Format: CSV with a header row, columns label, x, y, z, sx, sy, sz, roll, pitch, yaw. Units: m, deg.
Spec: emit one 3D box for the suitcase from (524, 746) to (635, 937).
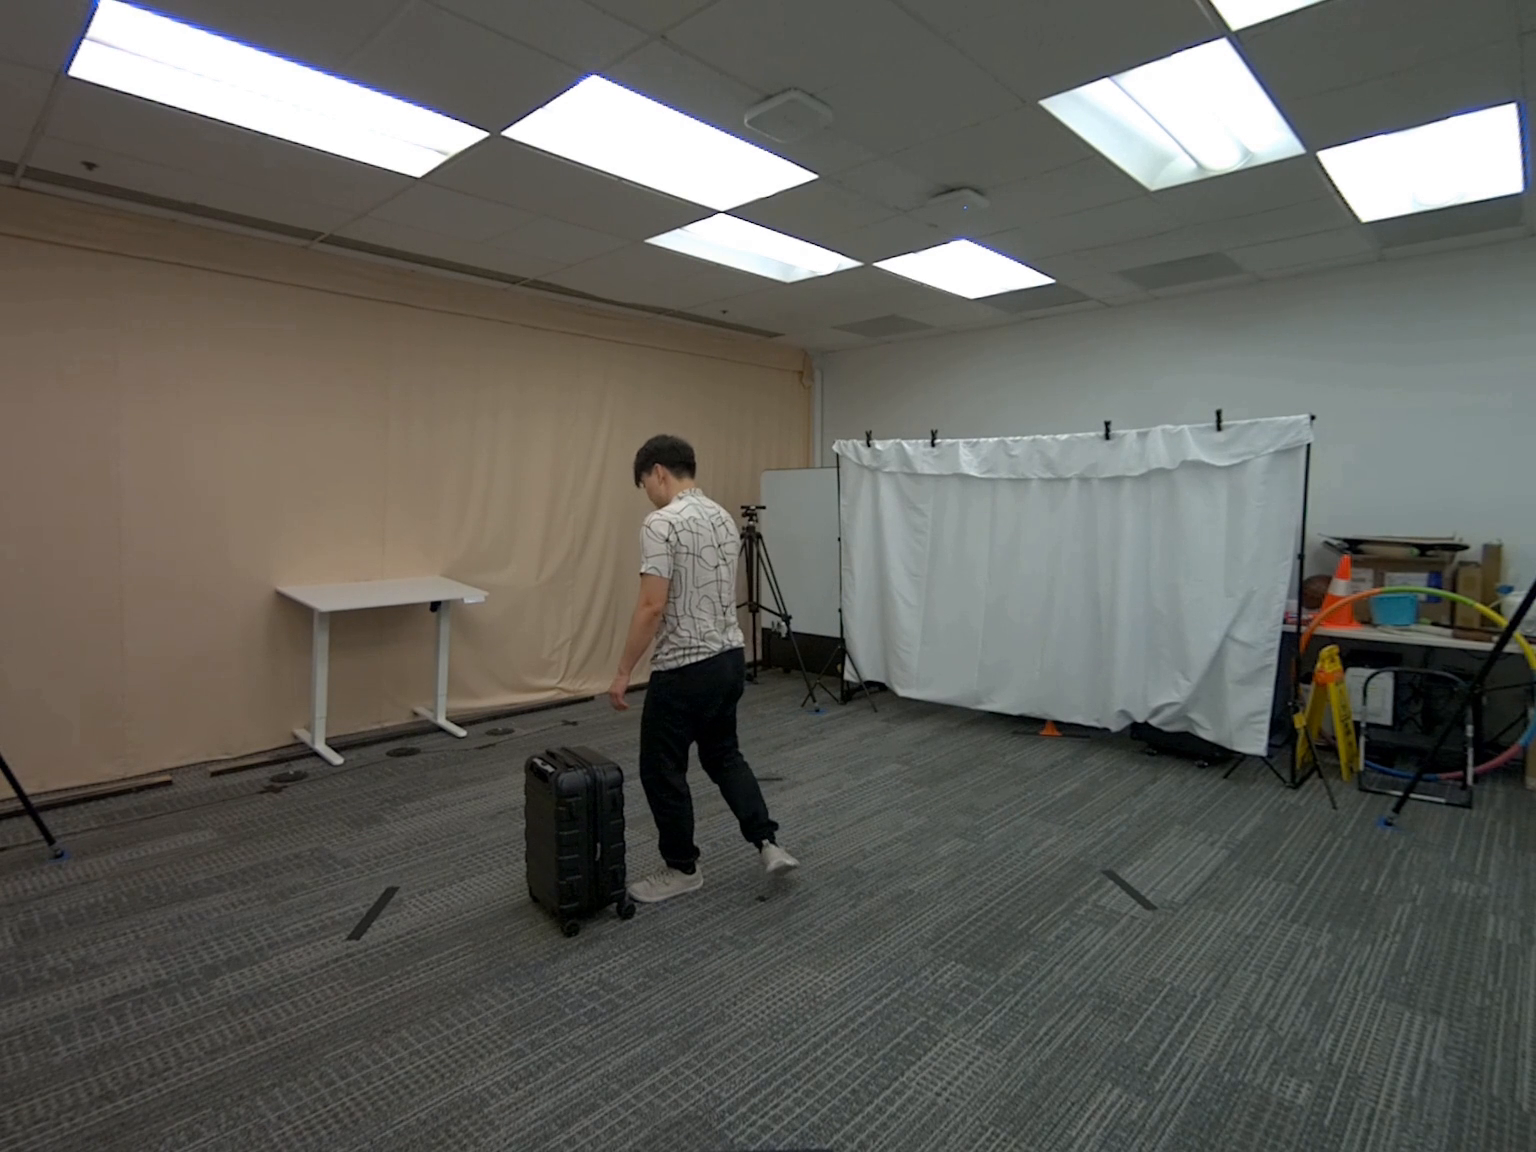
label,x,y,z,sx,sy,sz,roll,pitch,yaw
suitcase,-0.669,0.878,2.896,0.241,0.548,0.387,-3,4,-36
